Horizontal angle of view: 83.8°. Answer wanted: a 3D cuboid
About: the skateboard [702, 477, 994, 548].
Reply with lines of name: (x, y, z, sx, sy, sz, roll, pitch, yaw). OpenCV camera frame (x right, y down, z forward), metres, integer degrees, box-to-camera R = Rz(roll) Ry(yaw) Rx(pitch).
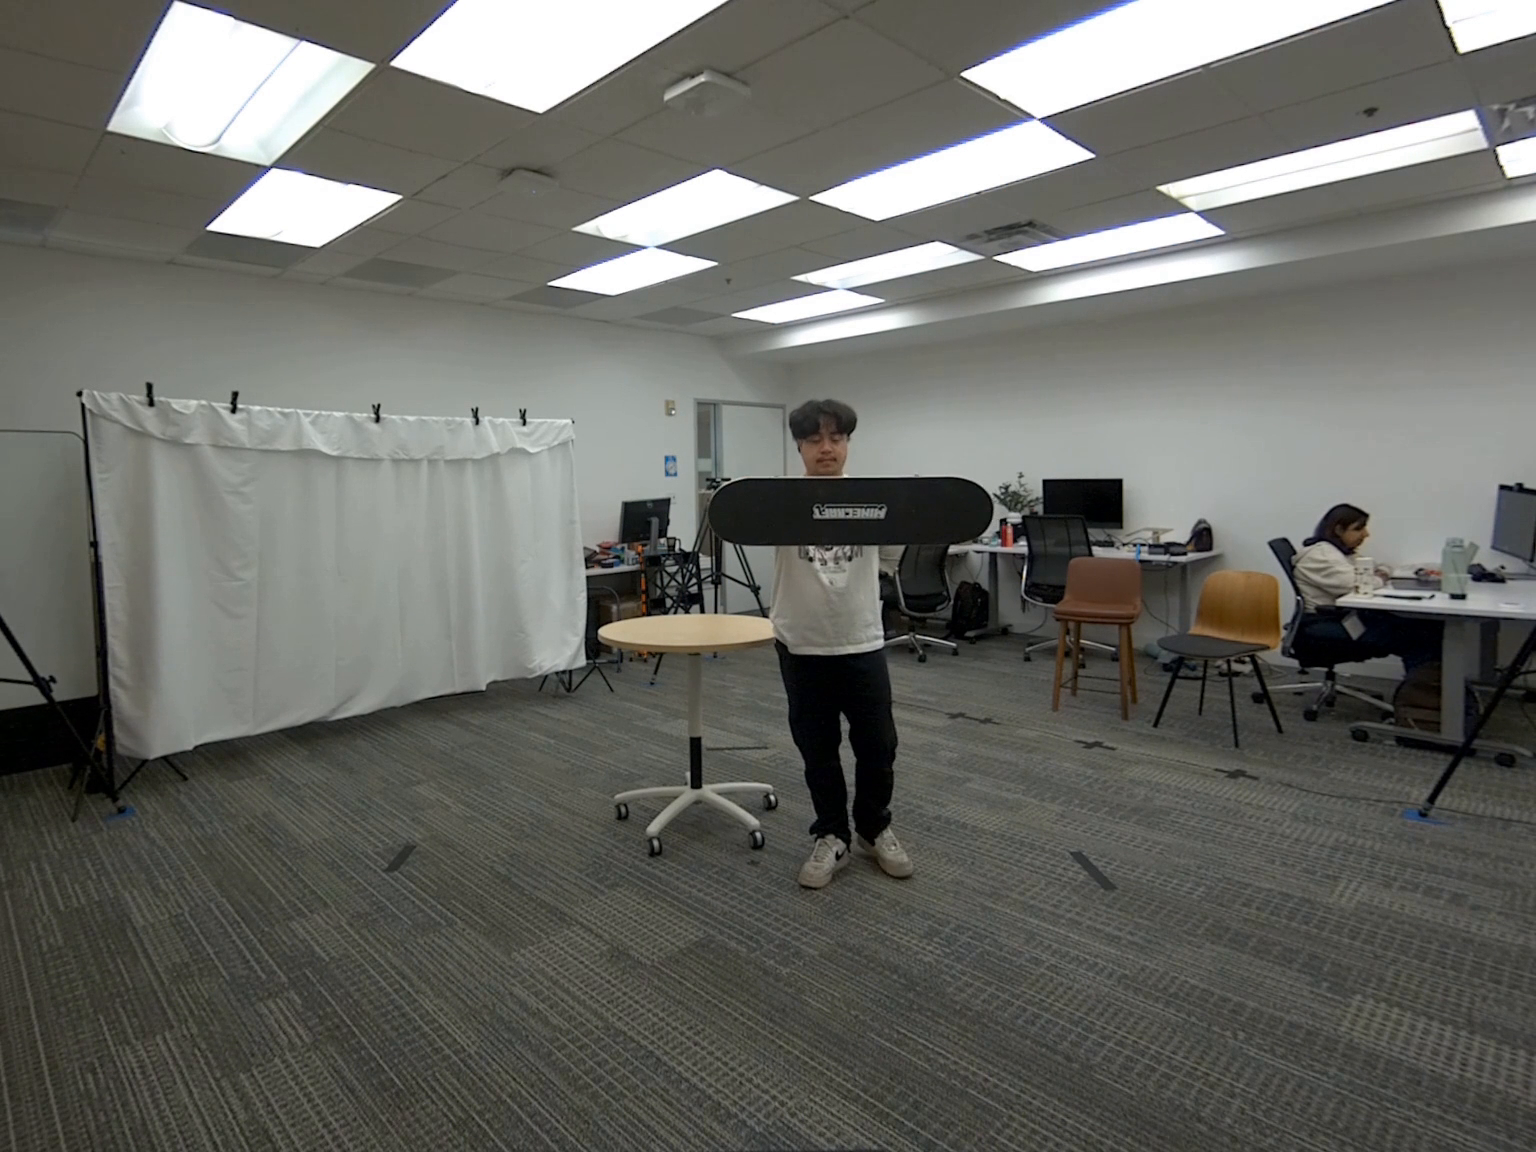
skateboard: (0.223, -0.179, 2.409, 0.786, 0.192, 0.111, 0, 10, 1)
